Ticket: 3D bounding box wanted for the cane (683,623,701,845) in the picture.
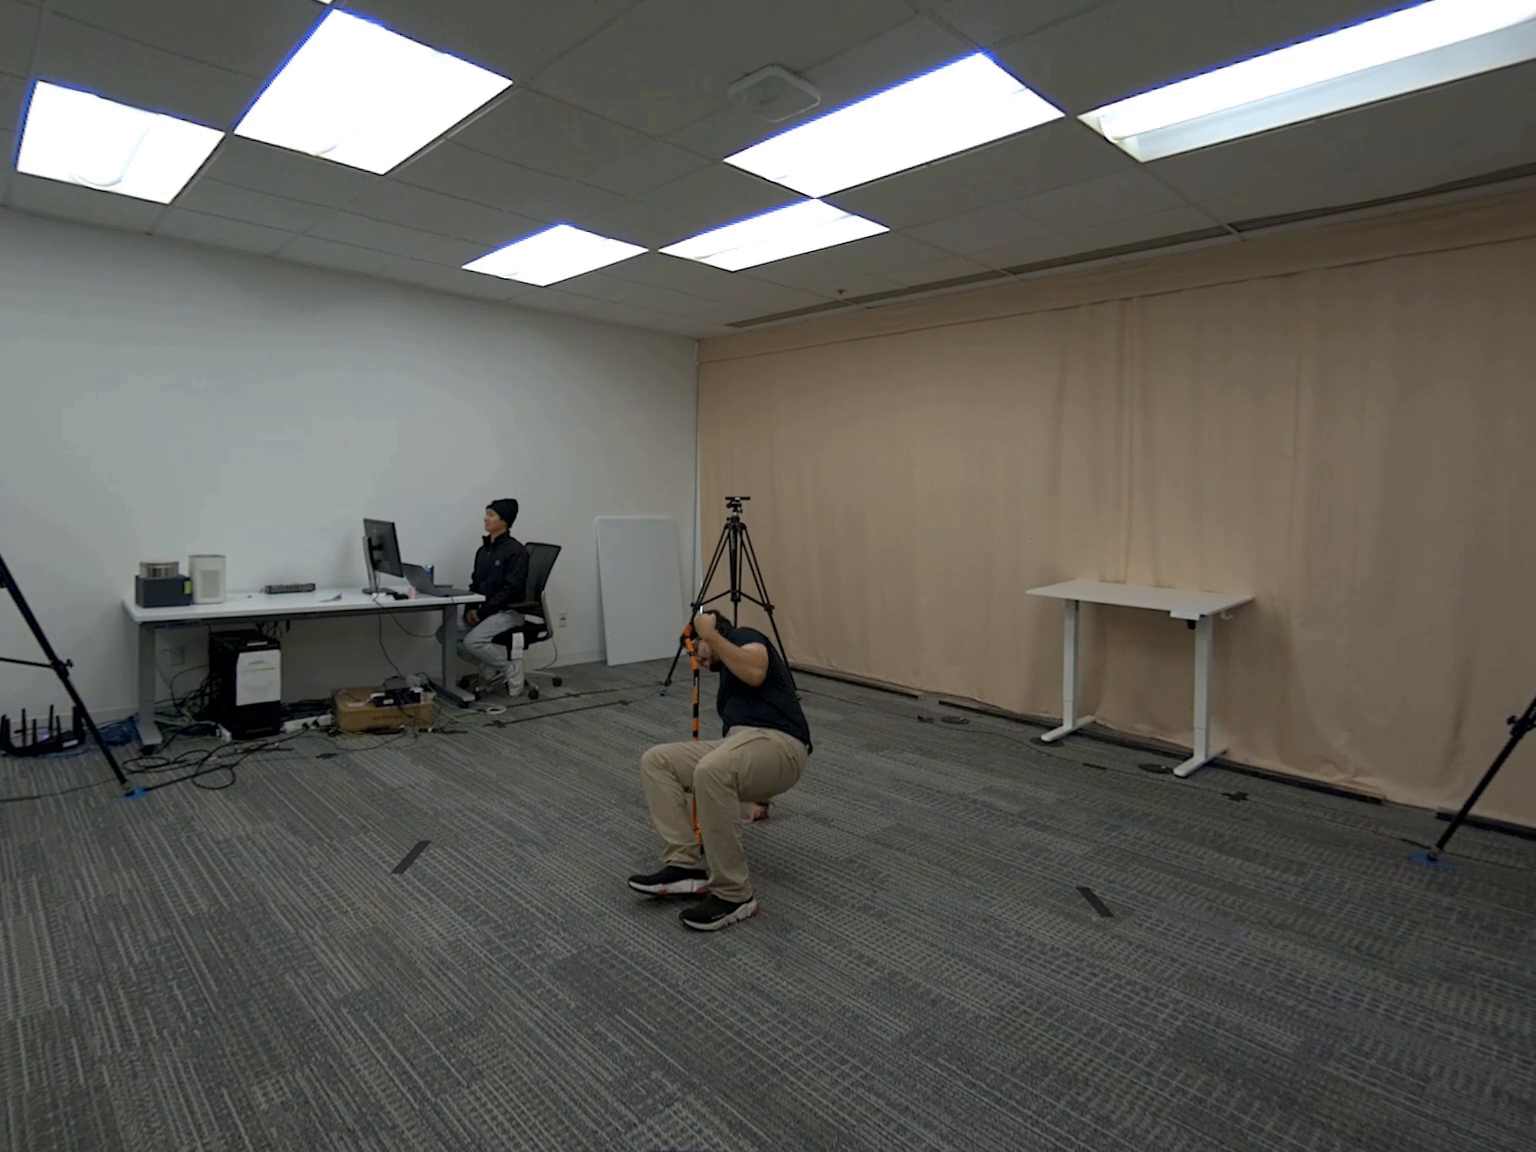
[{"bbox_3d":[-0.290,0.626,3.378,0.148,0.905,0.212,-3,6,-42],"label":"cane"}]
